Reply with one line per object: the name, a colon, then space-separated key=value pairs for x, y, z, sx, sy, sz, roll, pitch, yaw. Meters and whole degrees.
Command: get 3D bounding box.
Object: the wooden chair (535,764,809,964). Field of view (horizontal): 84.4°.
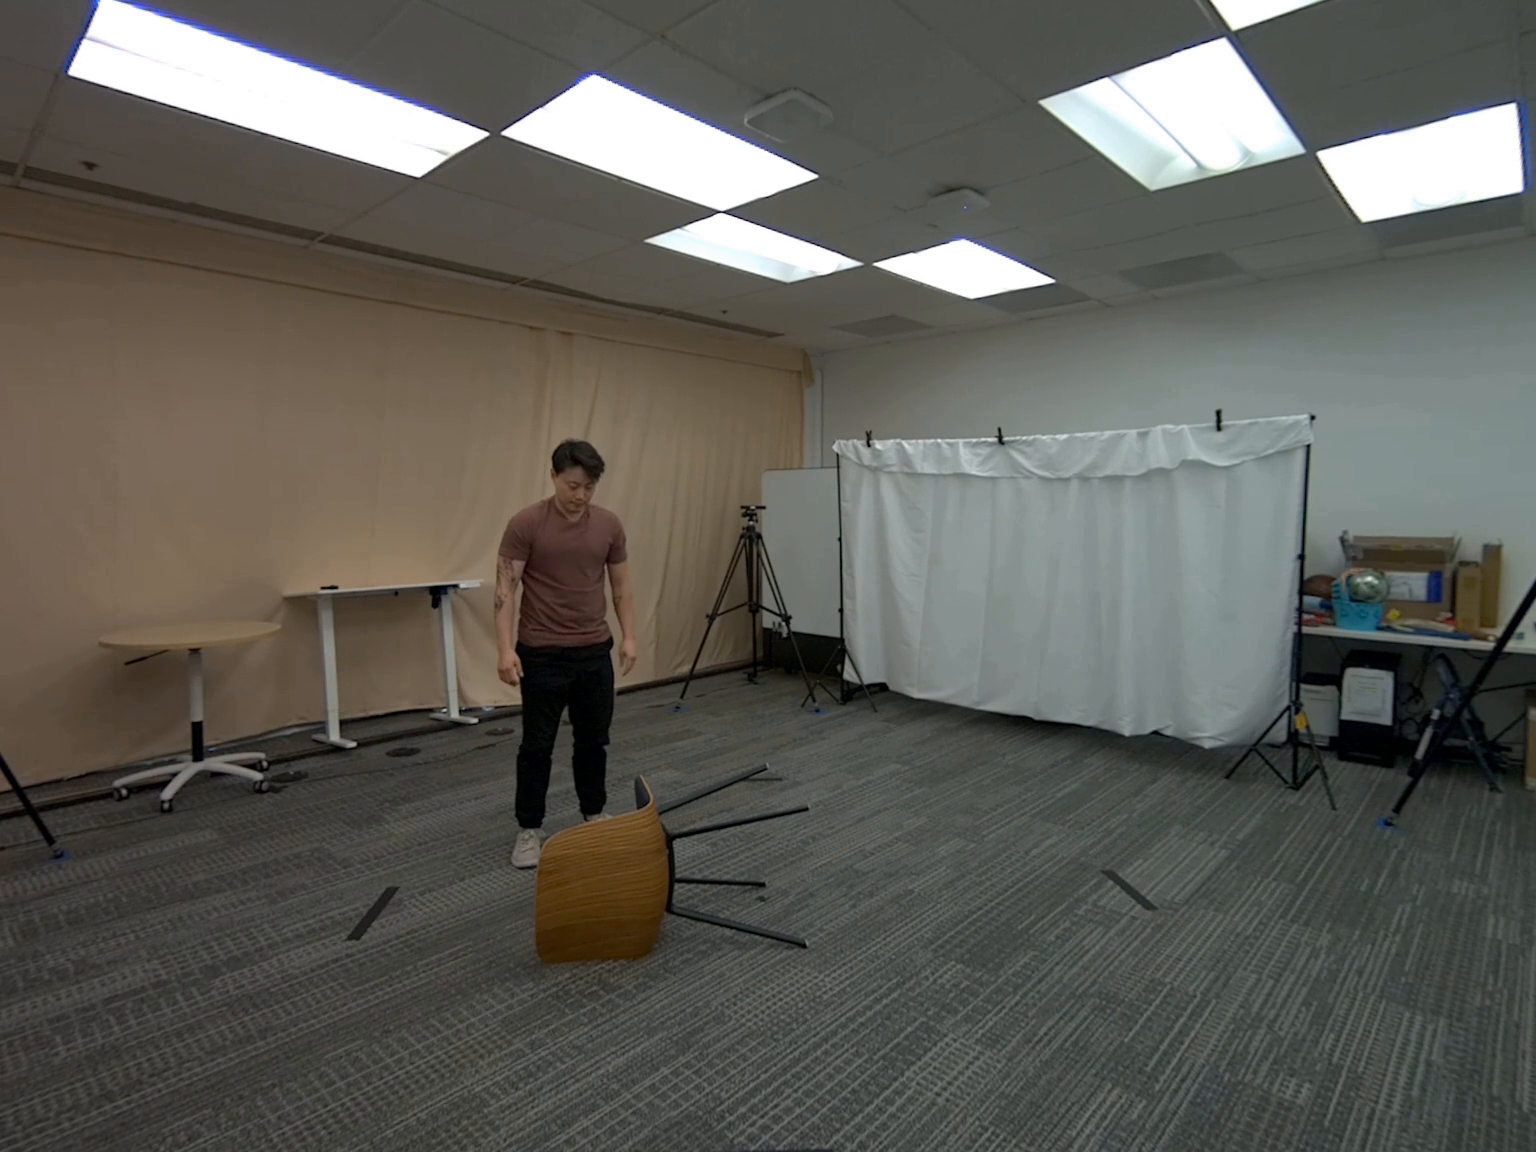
wooden chair: x=-0.348 y=0.935 z=2.764 sx=0.860 sy=0.477 sz=0.534 roll=-1 pitch=4 yaw=-19
